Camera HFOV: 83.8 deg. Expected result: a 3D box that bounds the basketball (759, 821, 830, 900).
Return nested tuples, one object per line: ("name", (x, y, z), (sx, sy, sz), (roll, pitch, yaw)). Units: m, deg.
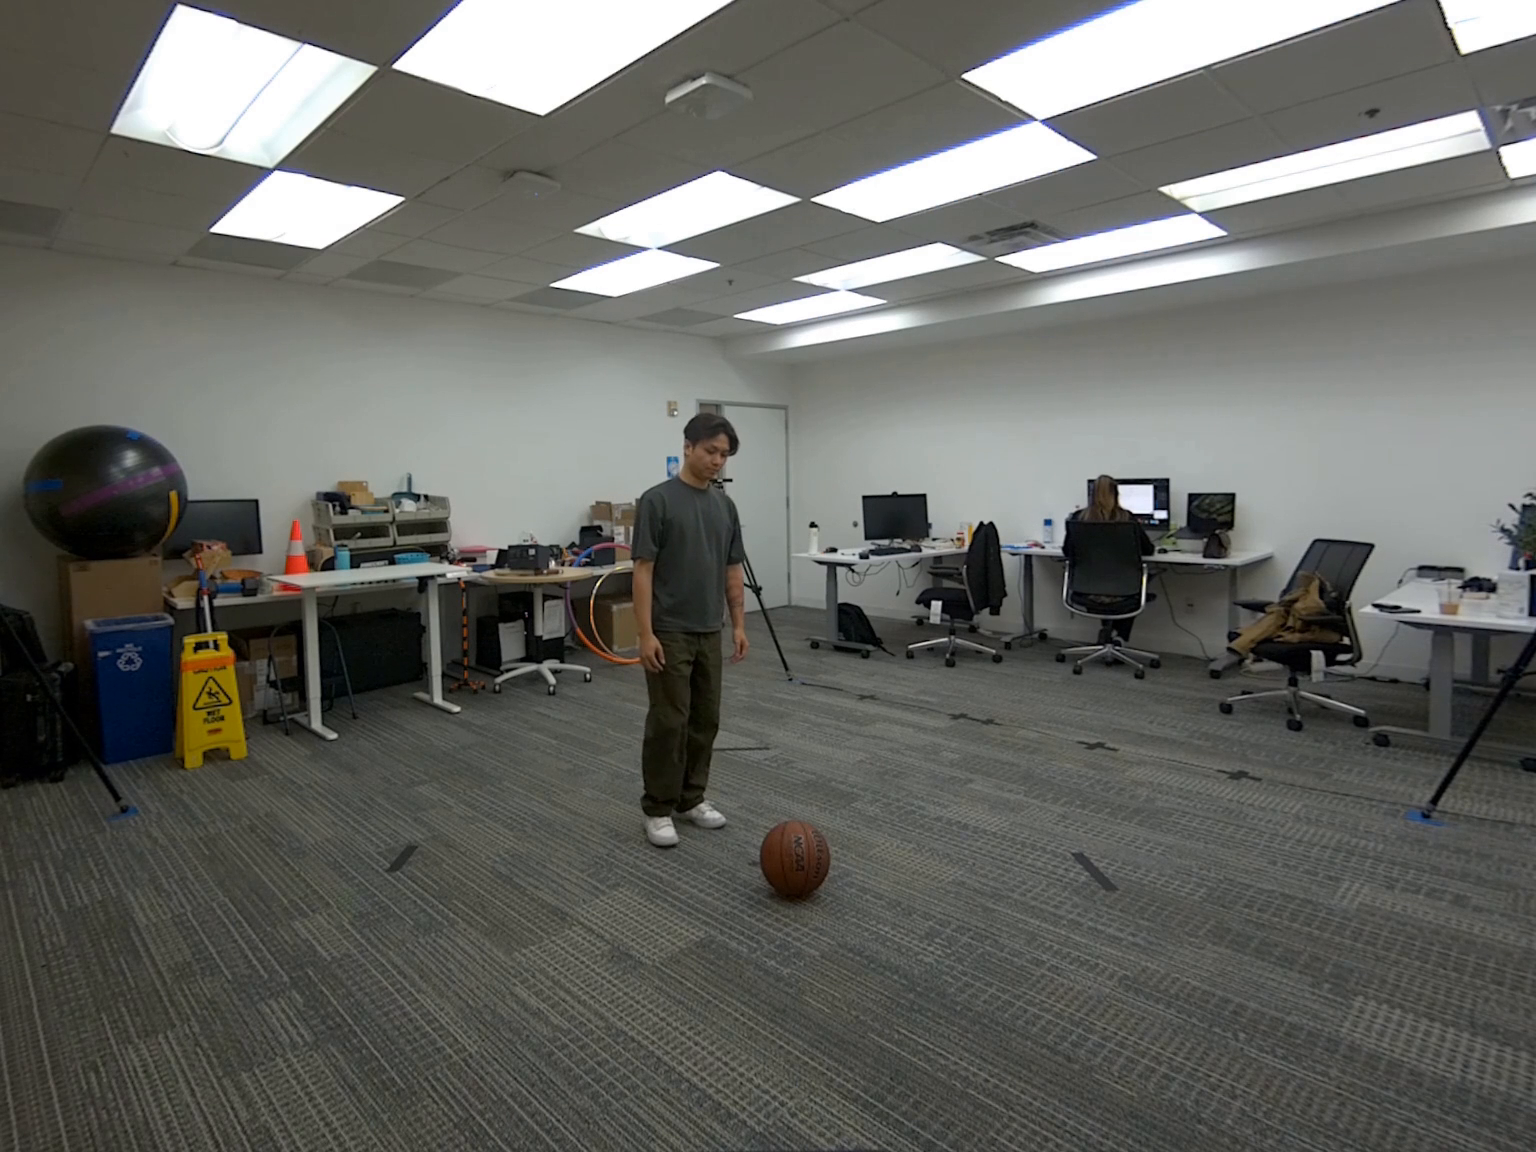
("basketball", (0.093, 0.944, 2.874), (0.236, 0.235, 0.237), (-1, 5, -2))
